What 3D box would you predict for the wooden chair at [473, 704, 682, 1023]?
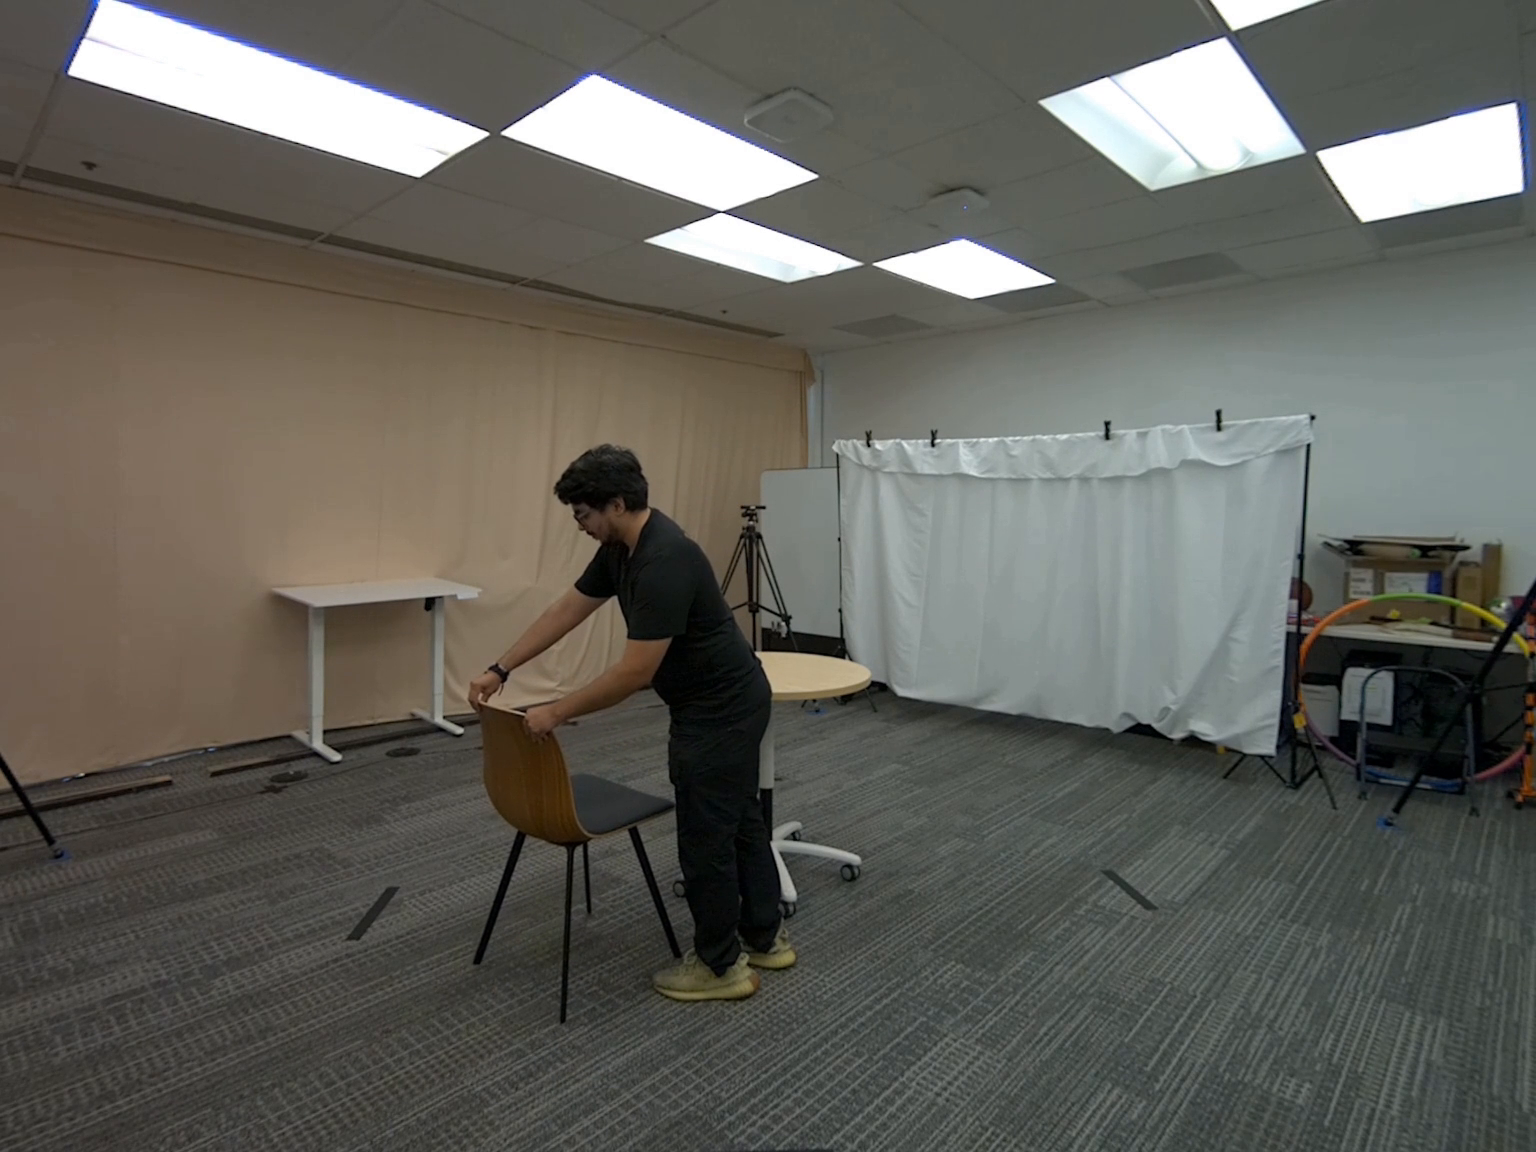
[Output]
[{"bbox_3d":[-0.582,0.754,2.560,0.494,0.873,0.508,2,8,41],"label":"wooden chair"}]
